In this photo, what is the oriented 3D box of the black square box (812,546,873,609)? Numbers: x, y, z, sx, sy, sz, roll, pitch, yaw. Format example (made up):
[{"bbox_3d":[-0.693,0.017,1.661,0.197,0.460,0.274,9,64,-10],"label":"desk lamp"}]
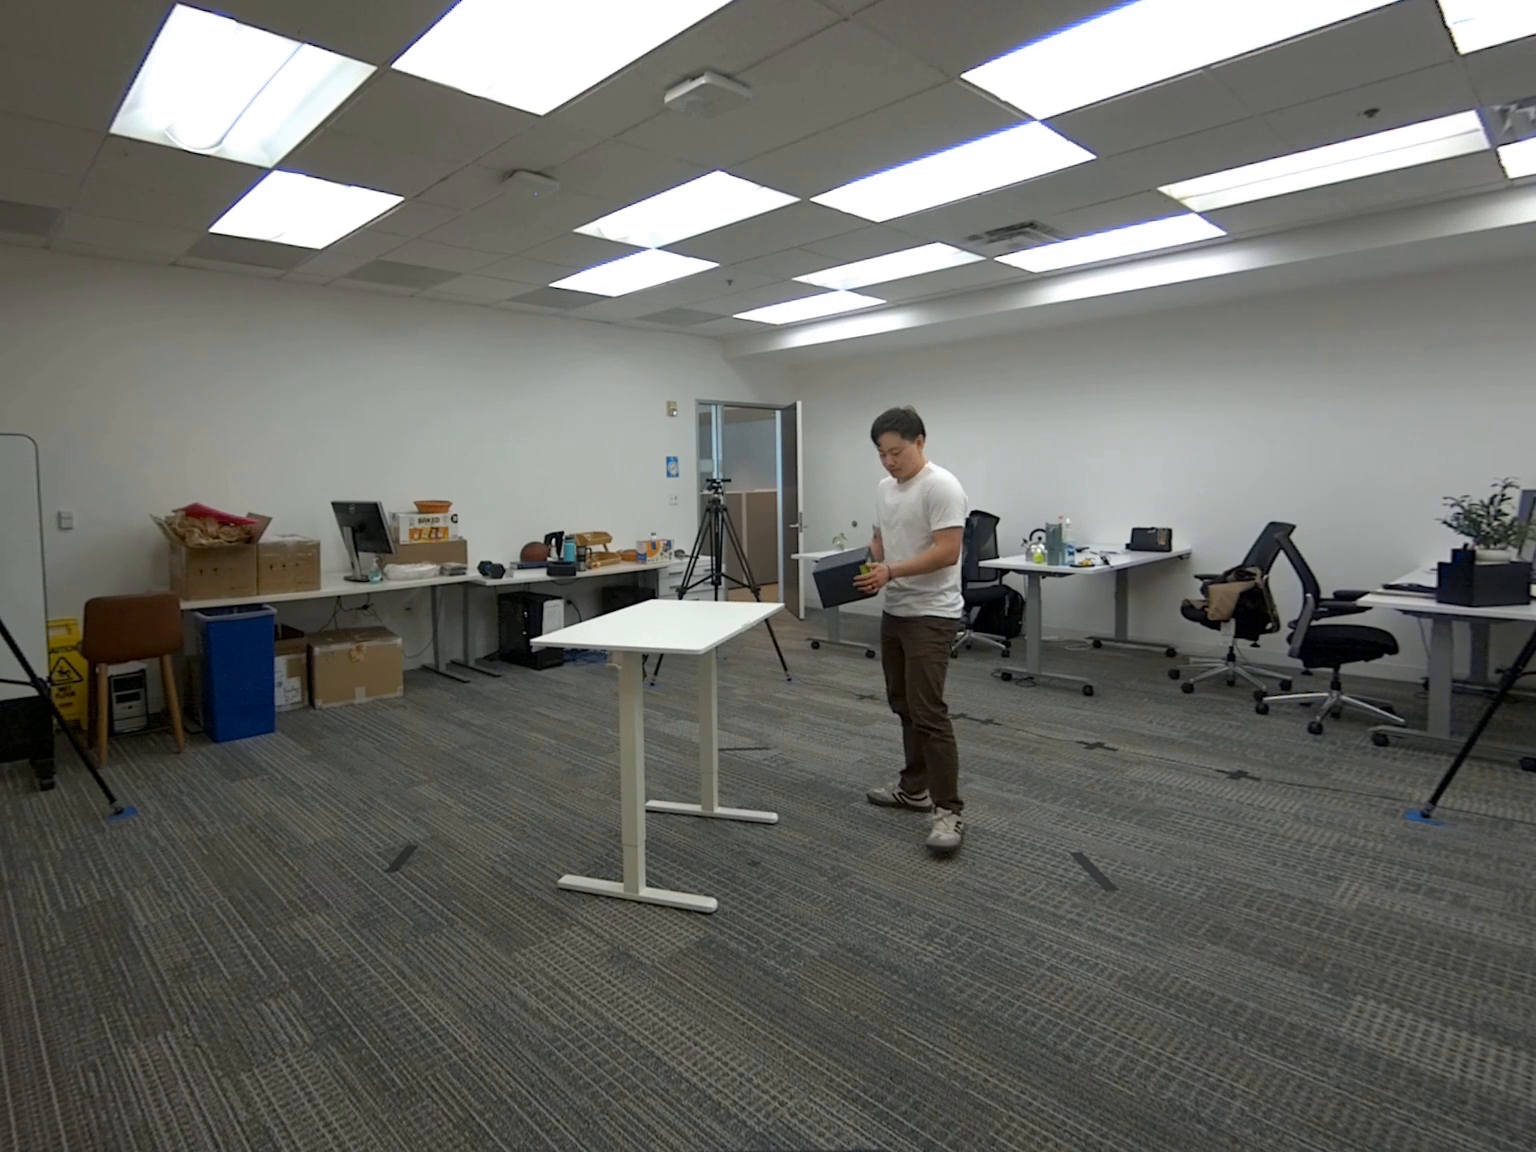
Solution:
[{"bbox_3d":[0.323,0.003,3.409,0.219,0.154,0.228,-15,11,17],"label":"black square box"}]
